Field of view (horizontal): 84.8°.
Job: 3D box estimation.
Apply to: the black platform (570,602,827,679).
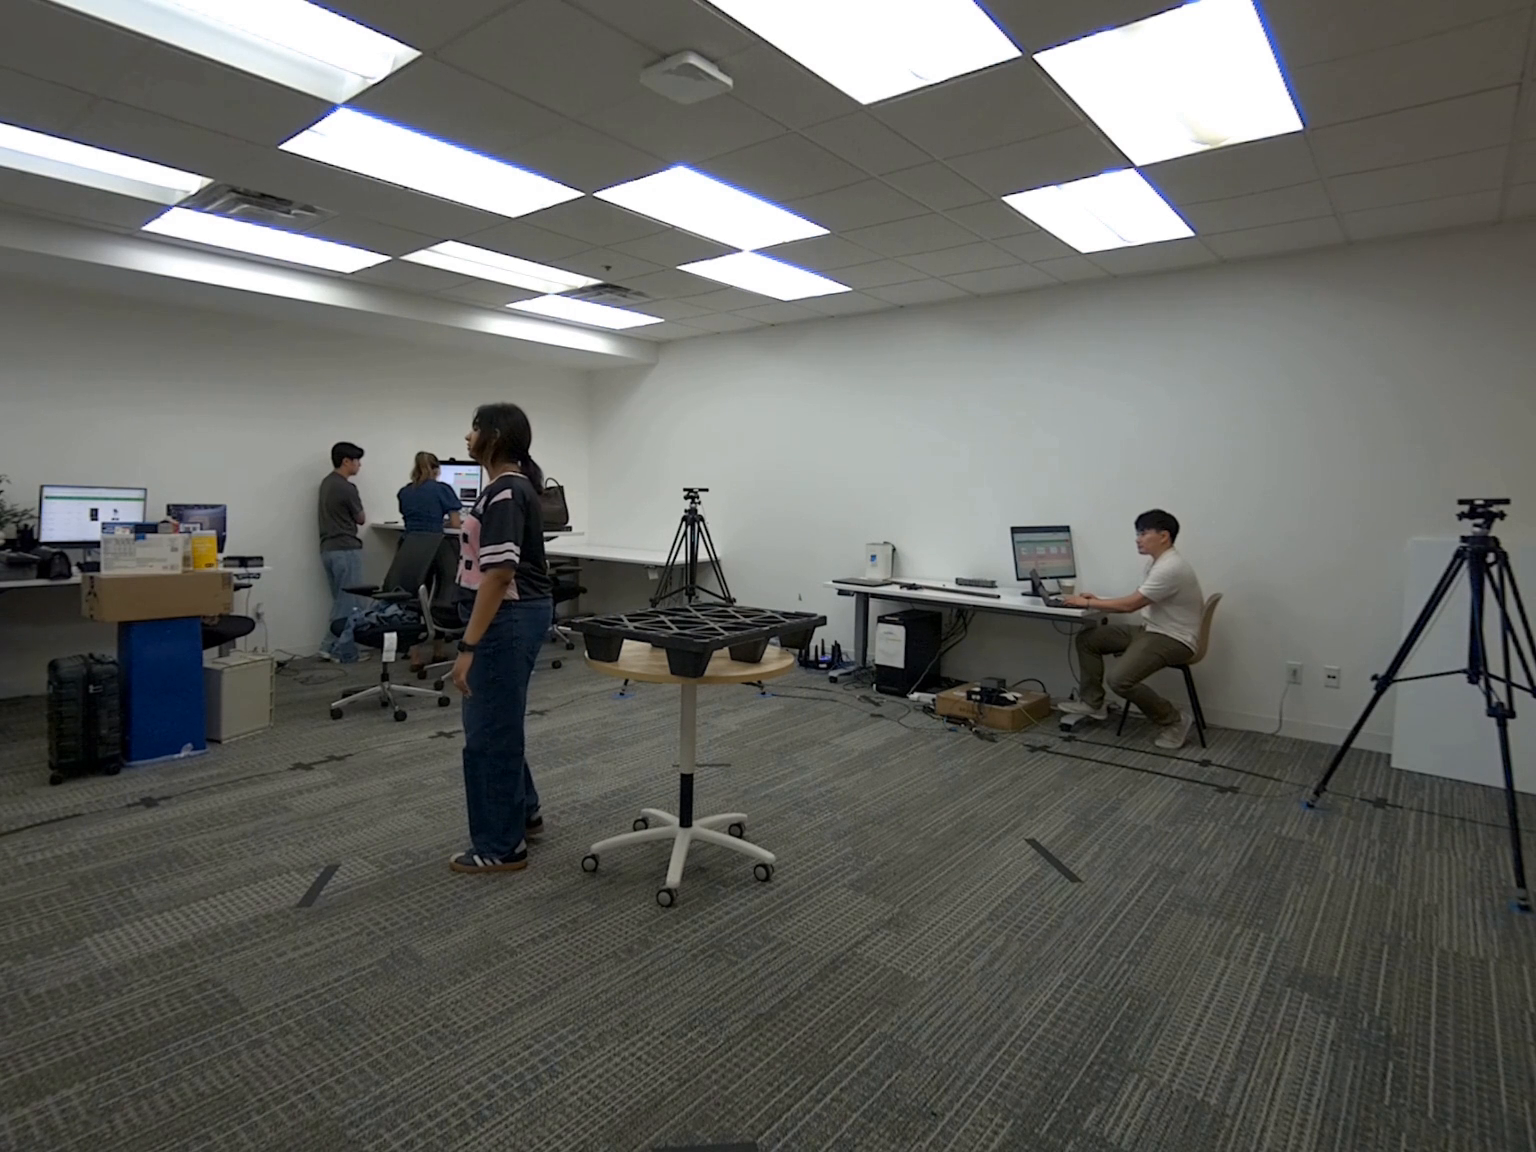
[{"bbox_3d":[-0.230,0.224,3.126,0.625,0.143,0.783,6,7,35],"label":"black platform"}]
